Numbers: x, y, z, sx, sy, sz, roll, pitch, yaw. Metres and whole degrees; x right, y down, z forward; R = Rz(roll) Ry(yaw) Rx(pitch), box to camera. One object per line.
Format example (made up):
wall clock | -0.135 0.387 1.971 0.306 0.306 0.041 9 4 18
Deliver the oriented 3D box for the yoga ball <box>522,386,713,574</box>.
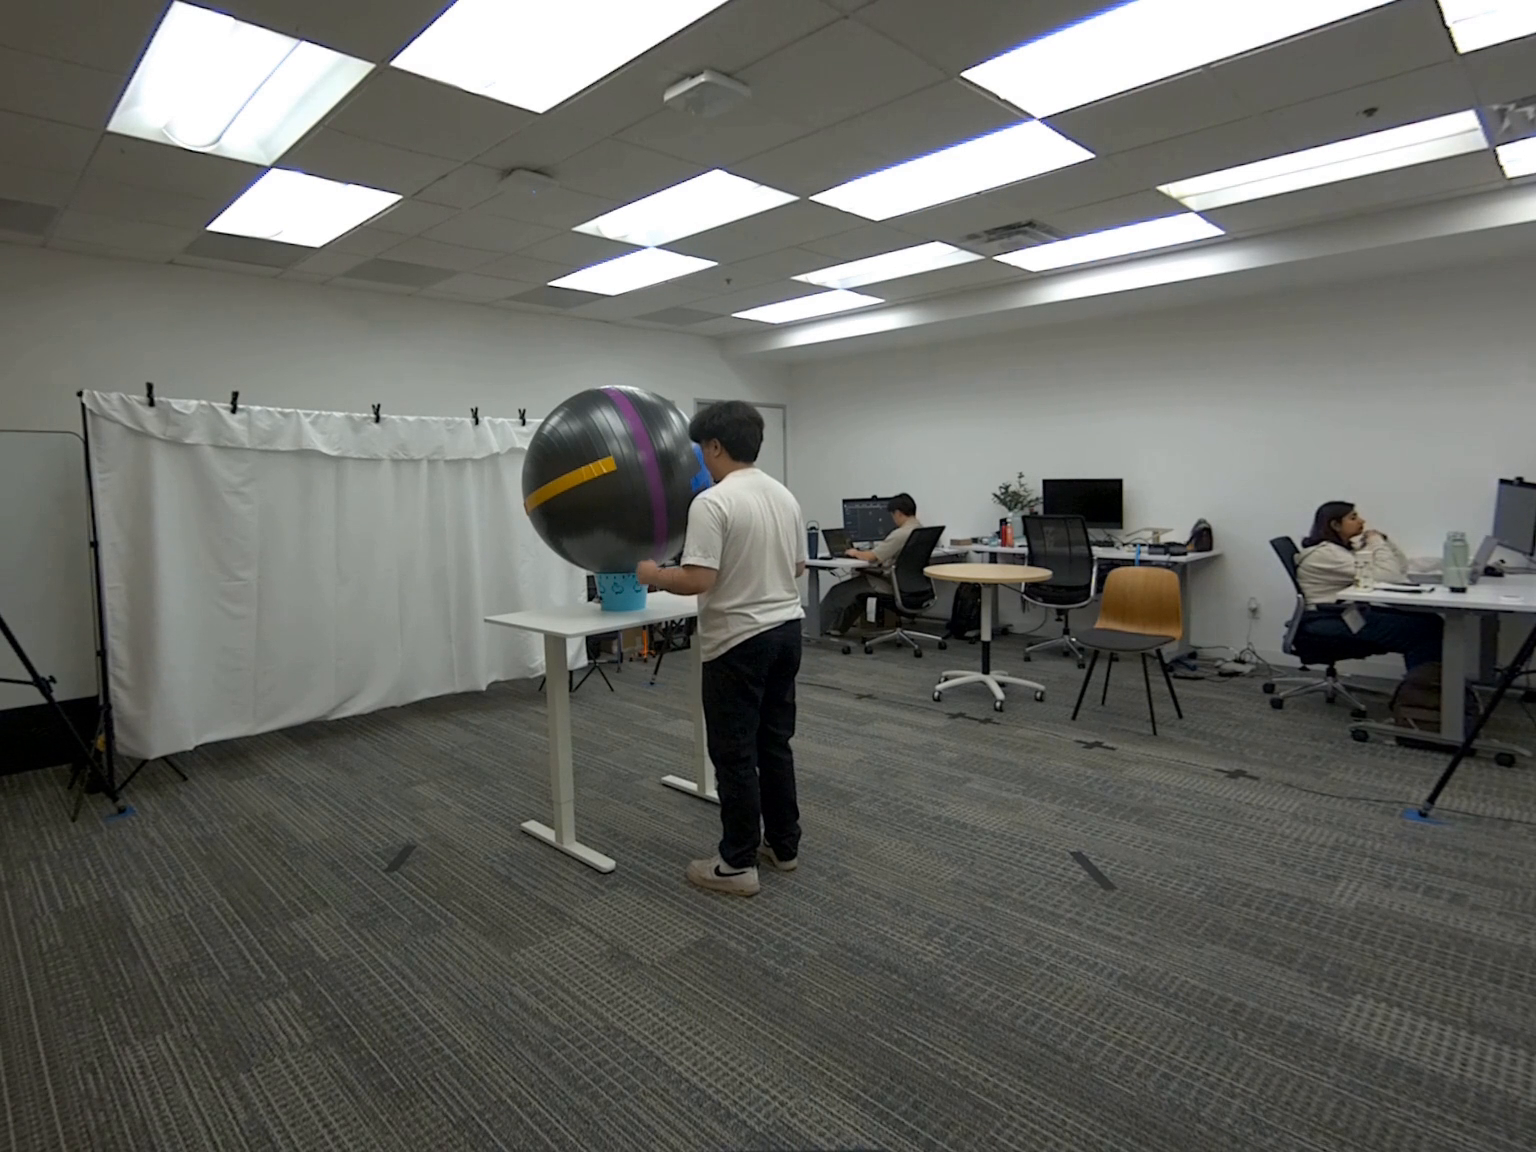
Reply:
yoga ball | -0.602 -0.371 3.427 0.757 0.755 0.762 -1 5 -2
